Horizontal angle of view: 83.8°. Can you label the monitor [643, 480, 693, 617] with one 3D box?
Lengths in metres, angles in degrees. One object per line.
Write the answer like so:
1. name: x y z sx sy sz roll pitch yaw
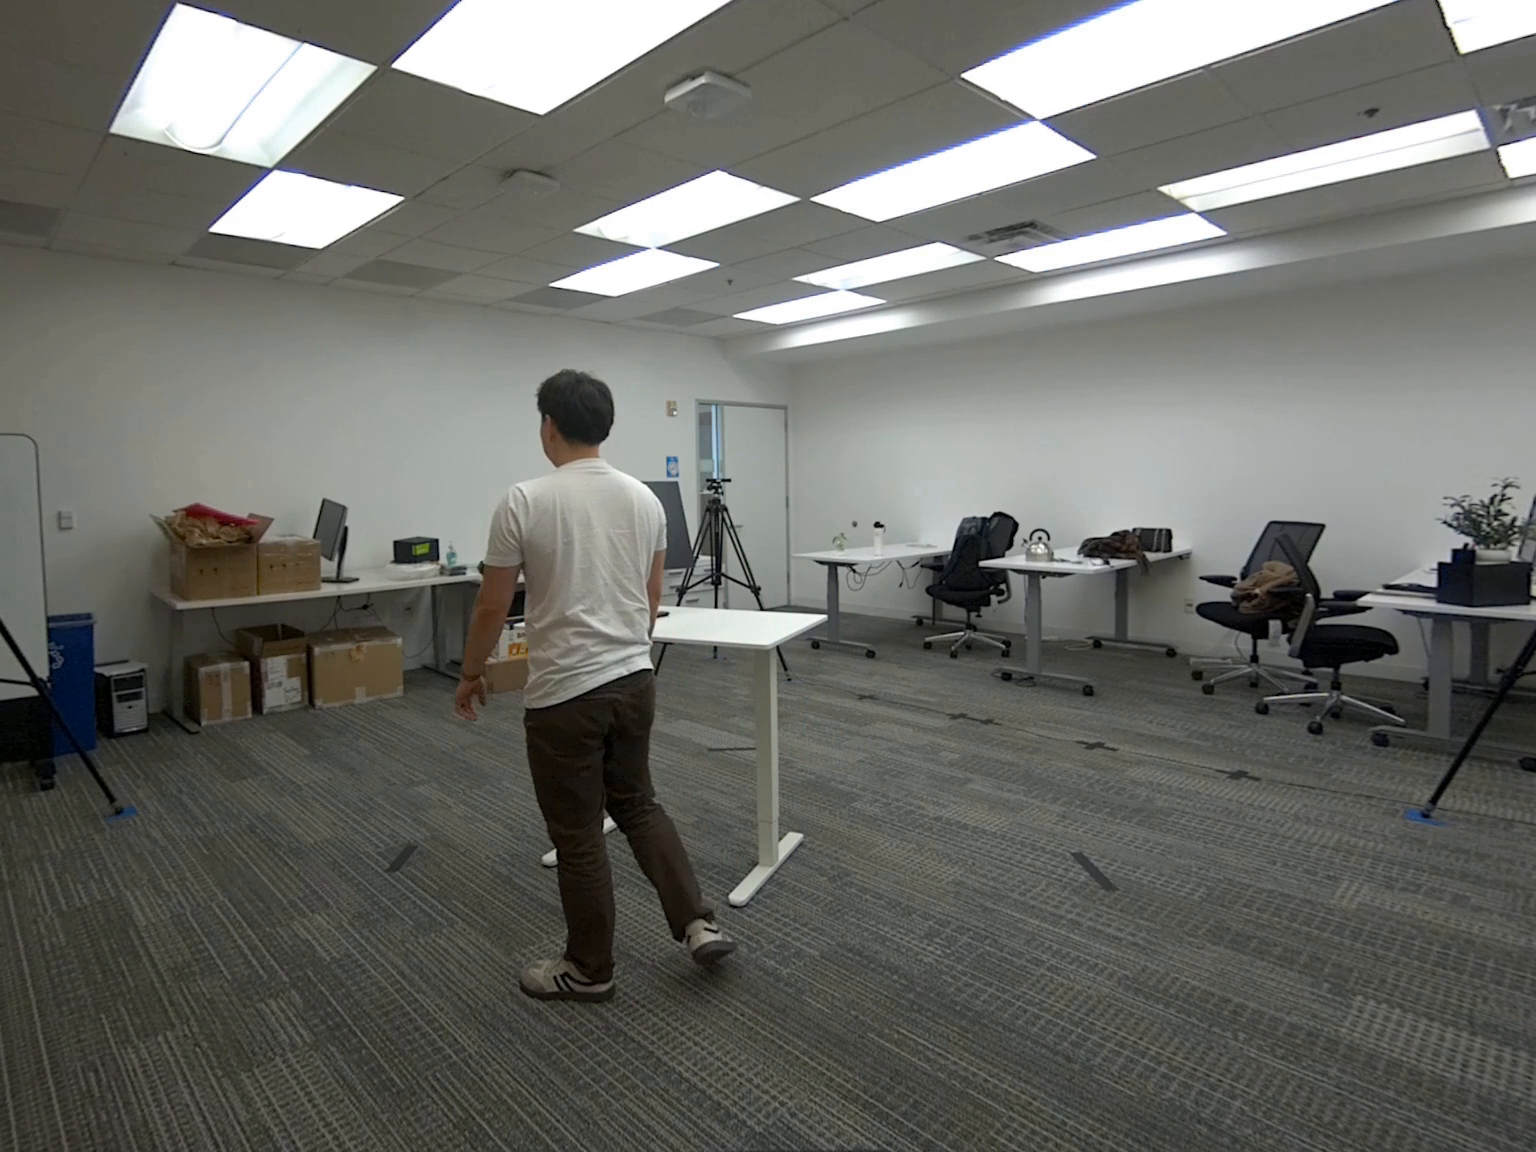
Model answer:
1. monitor: -0.532 -0.094 3.213 0.525 0.522 0.192 -5 1 -43
